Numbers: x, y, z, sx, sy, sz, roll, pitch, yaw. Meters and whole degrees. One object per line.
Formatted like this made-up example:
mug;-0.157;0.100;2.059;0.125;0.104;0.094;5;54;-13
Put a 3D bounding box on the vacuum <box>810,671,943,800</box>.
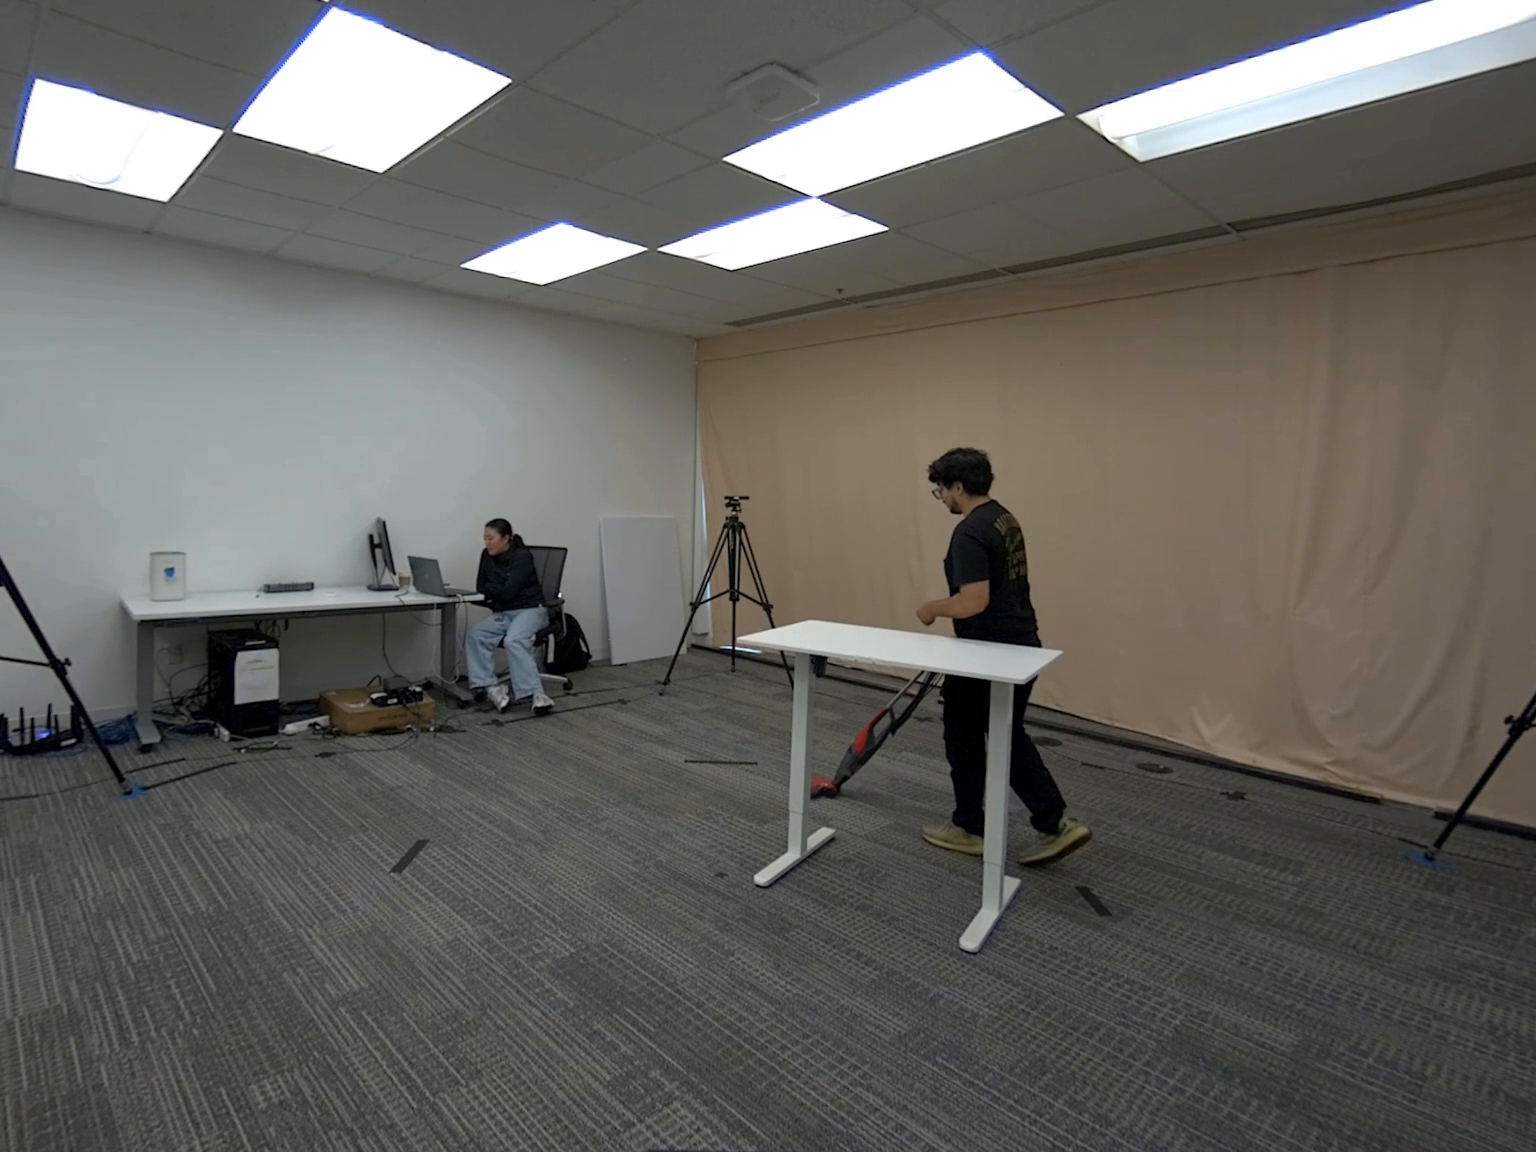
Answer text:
vacuum;0.570;0.635;3.879;0.146;1.048;0.249;43;16;11
